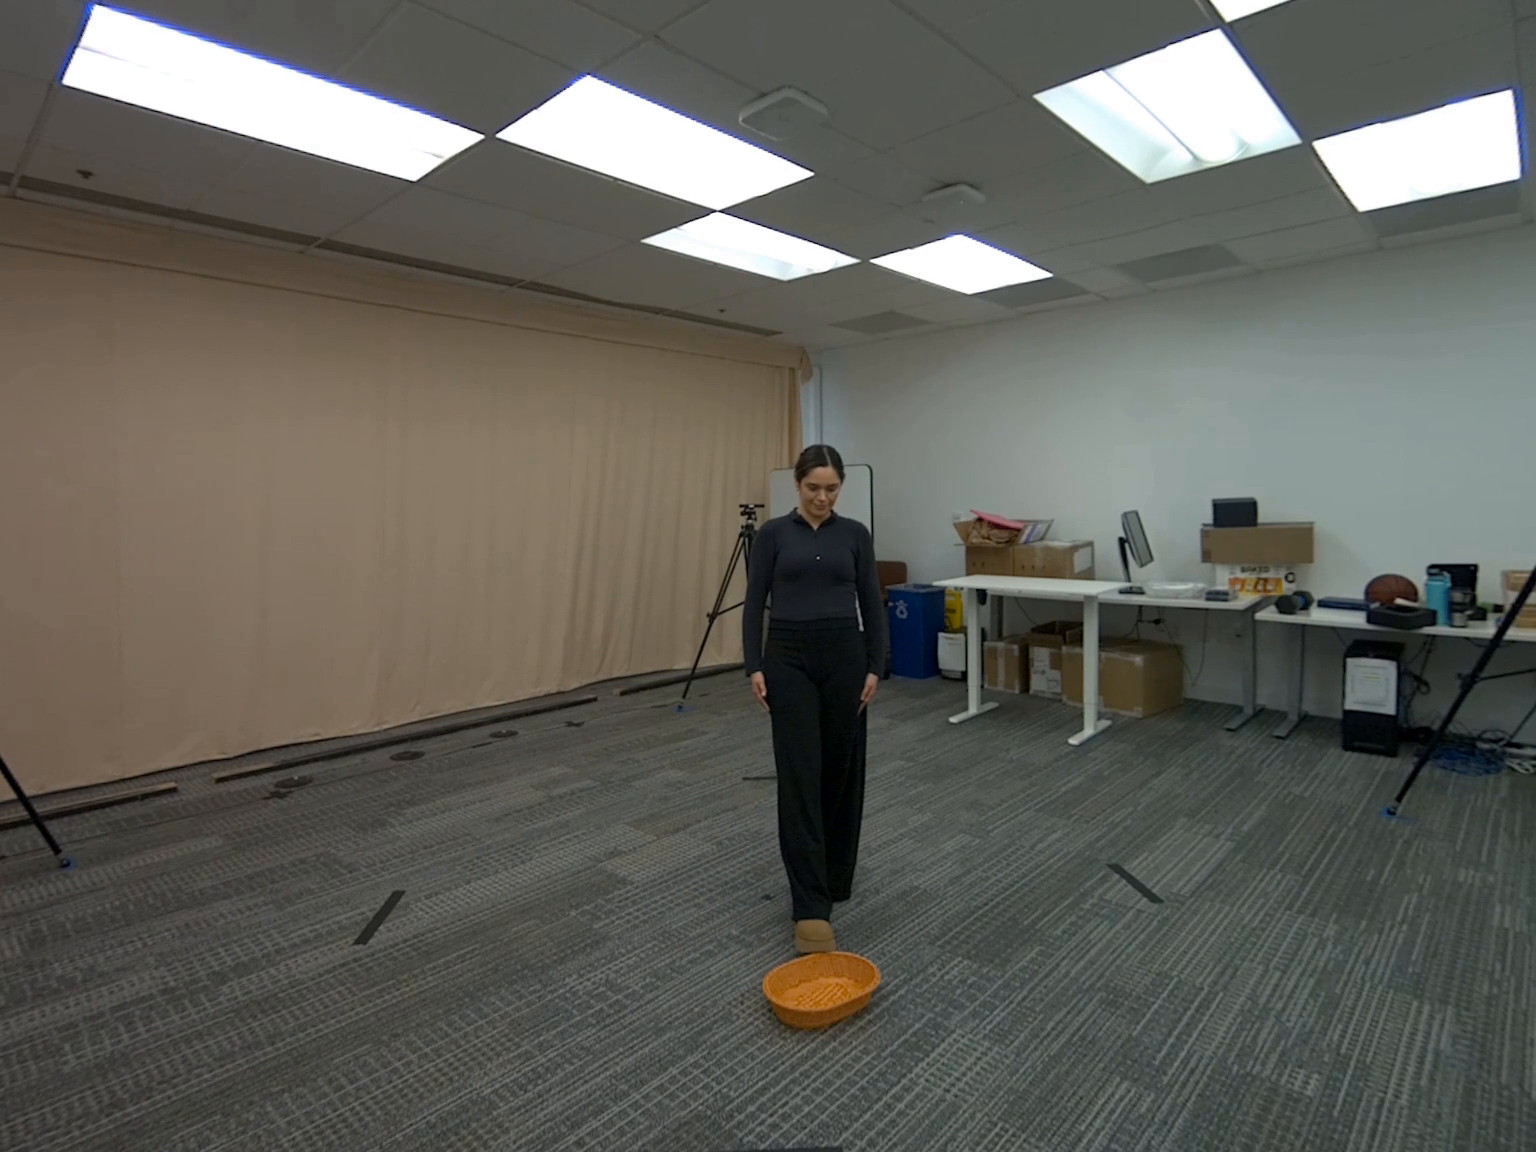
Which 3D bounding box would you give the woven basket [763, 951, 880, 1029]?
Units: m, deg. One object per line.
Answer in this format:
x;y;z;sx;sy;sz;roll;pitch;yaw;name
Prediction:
0.151;1.150;2.347;0.341;0.073;0.259;-4;4;-30;woven basket
